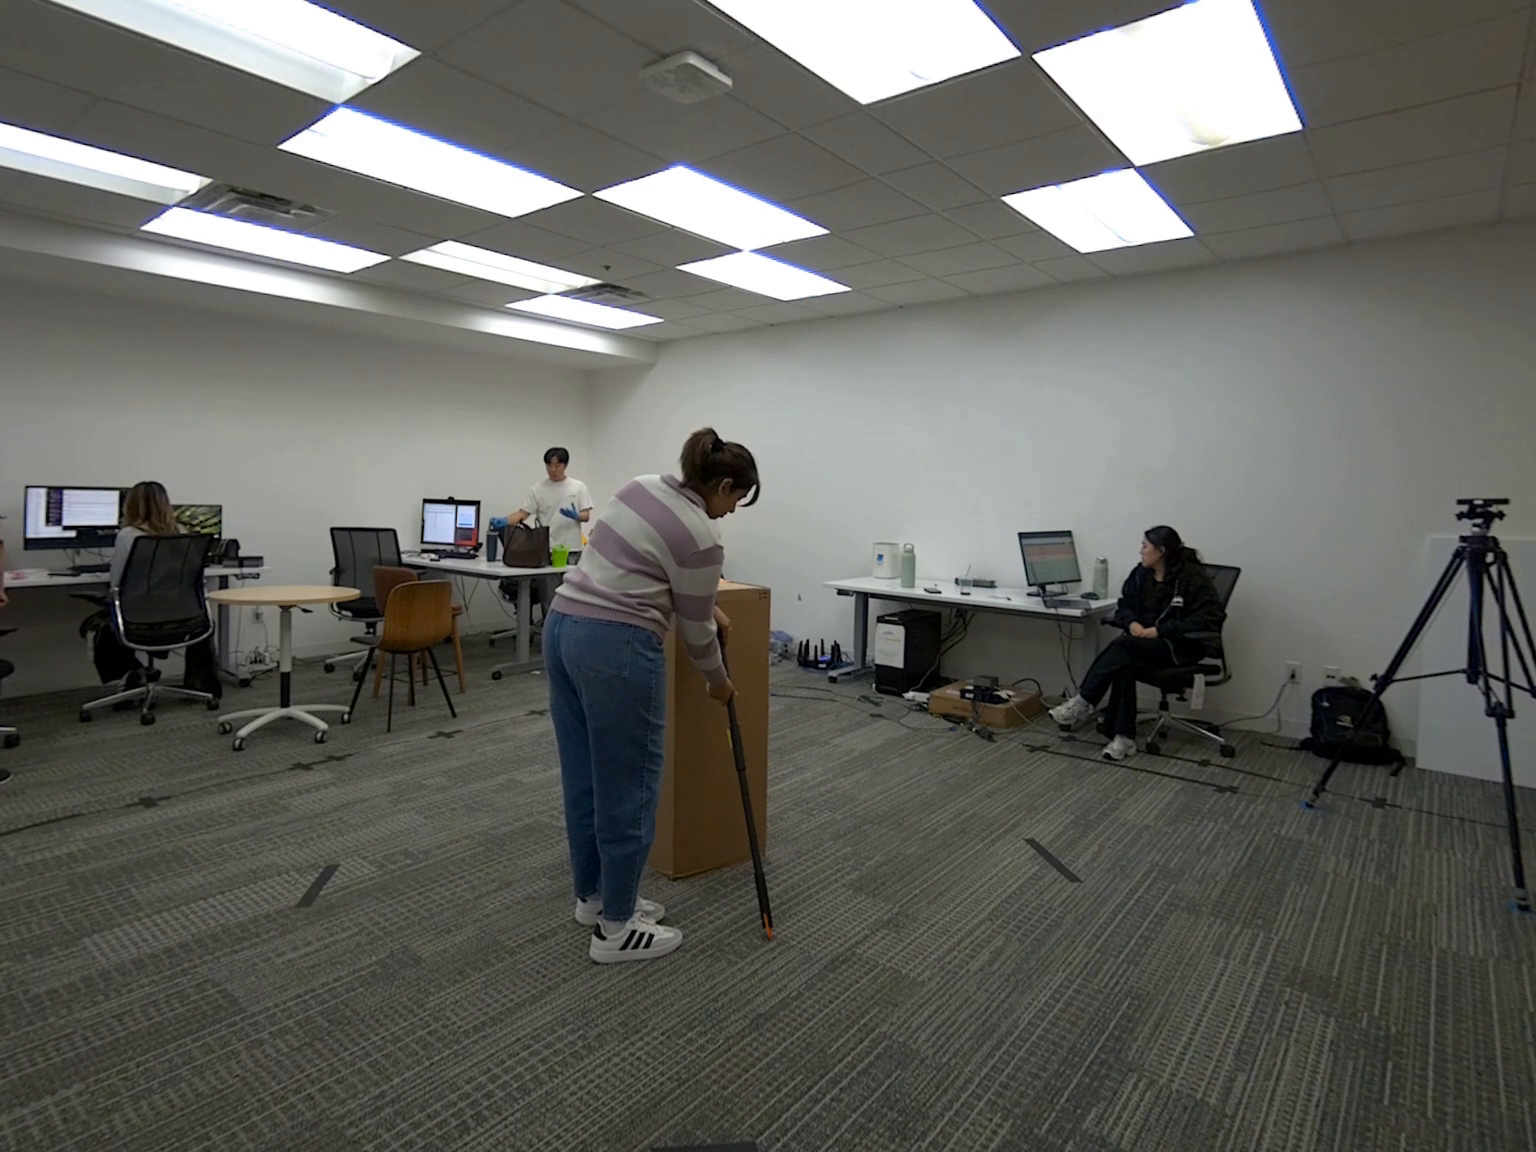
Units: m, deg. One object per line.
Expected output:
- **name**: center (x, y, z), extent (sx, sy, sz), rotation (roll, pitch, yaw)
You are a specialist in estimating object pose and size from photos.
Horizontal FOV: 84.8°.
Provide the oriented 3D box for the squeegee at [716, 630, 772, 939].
- **squeegee**: center (-0.121, 0.387, 2.907), extent (0.054, 1.574, 0.421), rotation (-26, -24, 30)
